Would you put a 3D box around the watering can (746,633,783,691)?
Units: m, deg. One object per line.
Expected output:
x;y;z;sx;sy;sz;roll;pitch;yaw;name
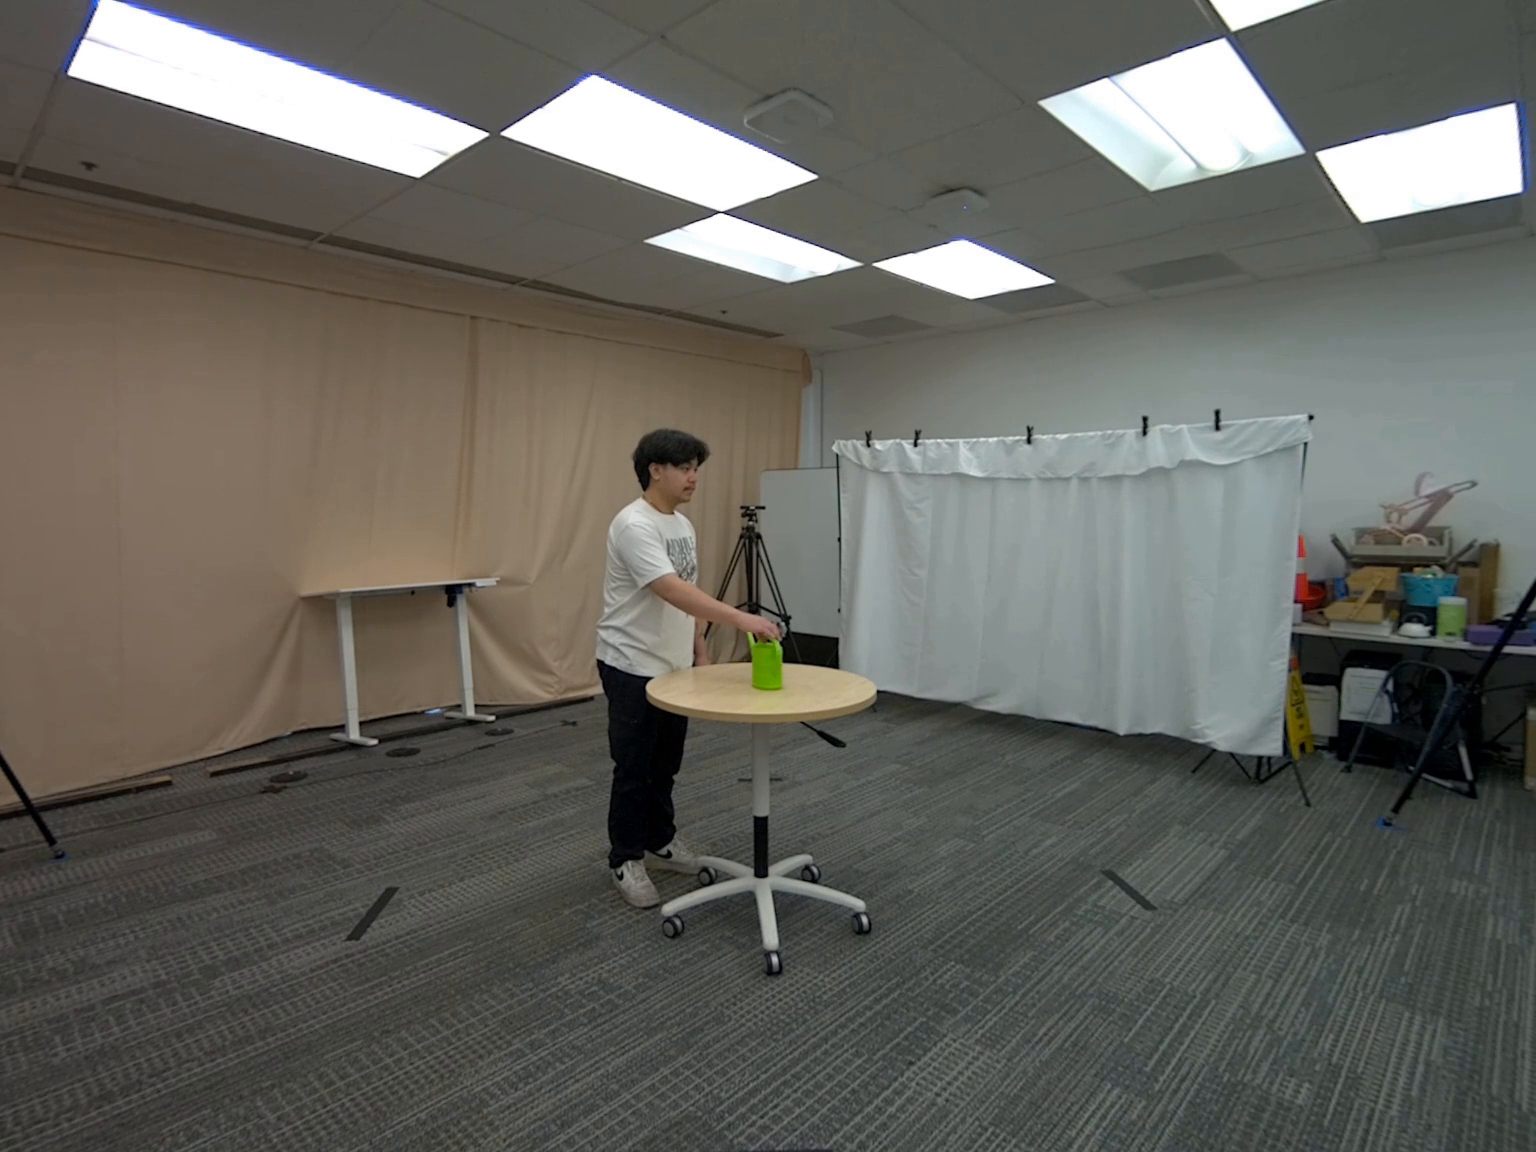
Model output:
-0.005;0.279;2.833;0.097;0.176;0.282;-2;7;-12;watering can
